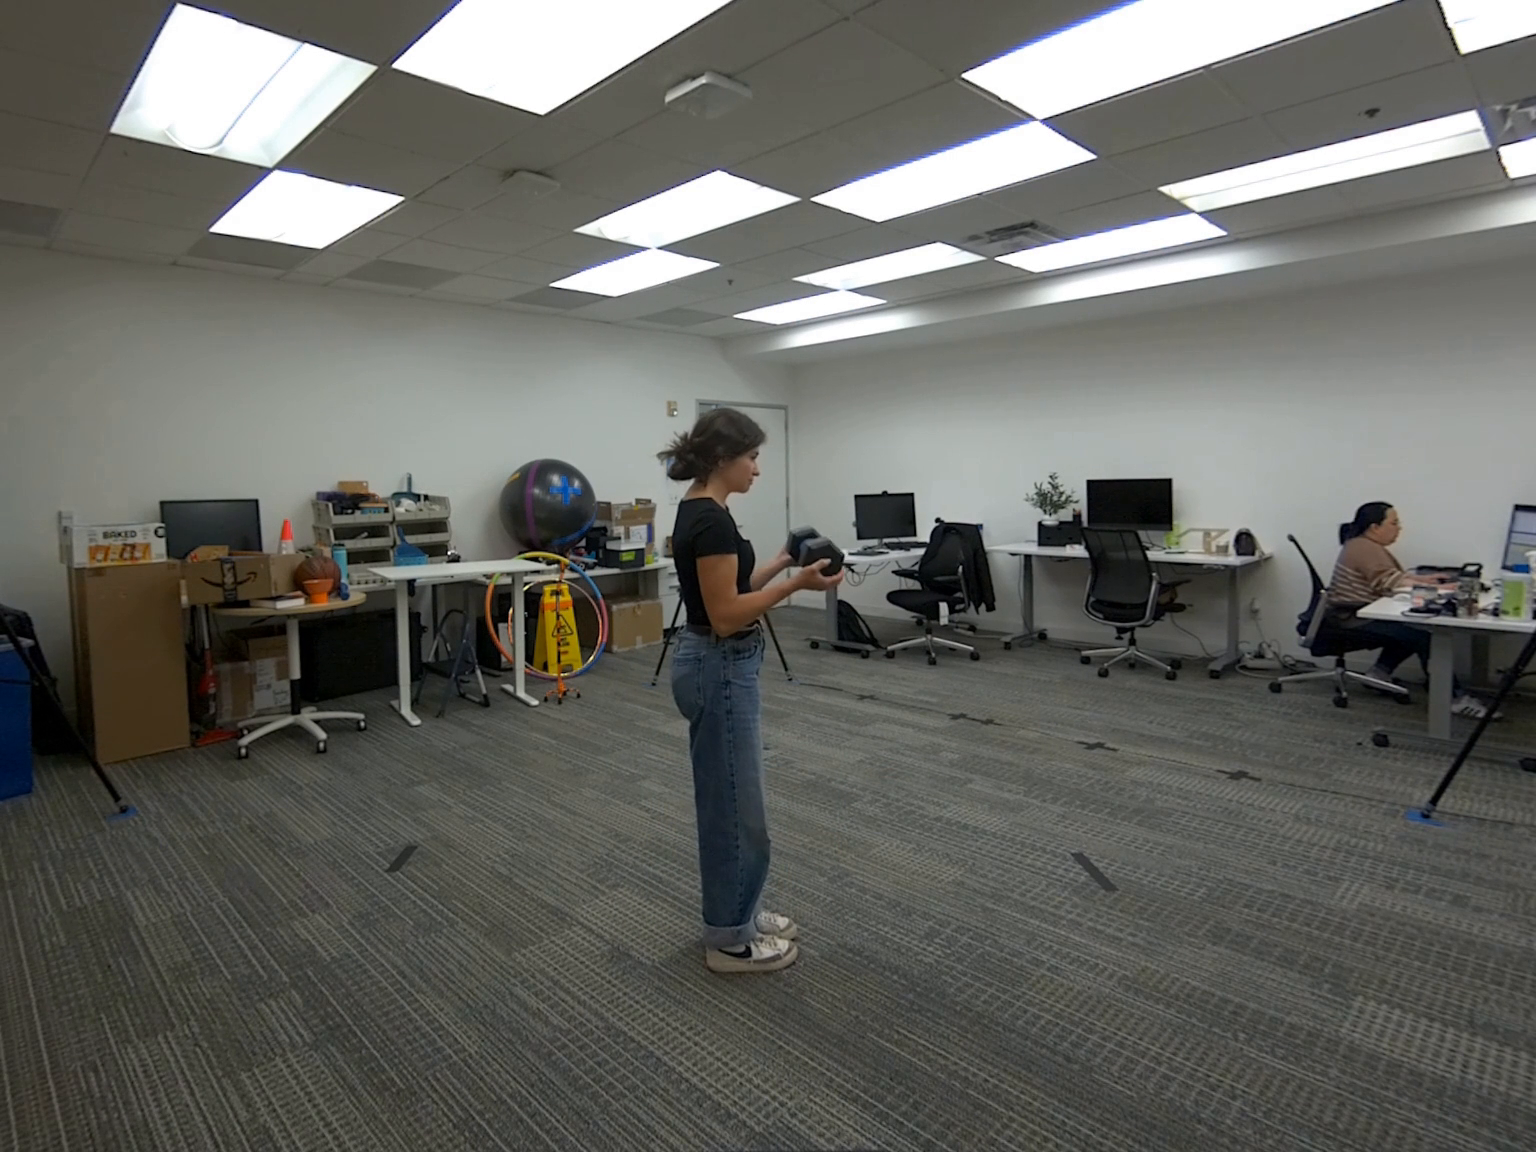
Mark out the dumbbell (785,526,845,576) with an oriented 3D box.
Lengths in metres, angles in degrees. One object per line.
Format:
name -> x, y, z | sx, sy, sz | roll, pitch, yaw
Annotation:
dumbbell -> 0.120, -0.057, 2.446 | 0.107, 0.122, 0.298 | 20, 7, -10
